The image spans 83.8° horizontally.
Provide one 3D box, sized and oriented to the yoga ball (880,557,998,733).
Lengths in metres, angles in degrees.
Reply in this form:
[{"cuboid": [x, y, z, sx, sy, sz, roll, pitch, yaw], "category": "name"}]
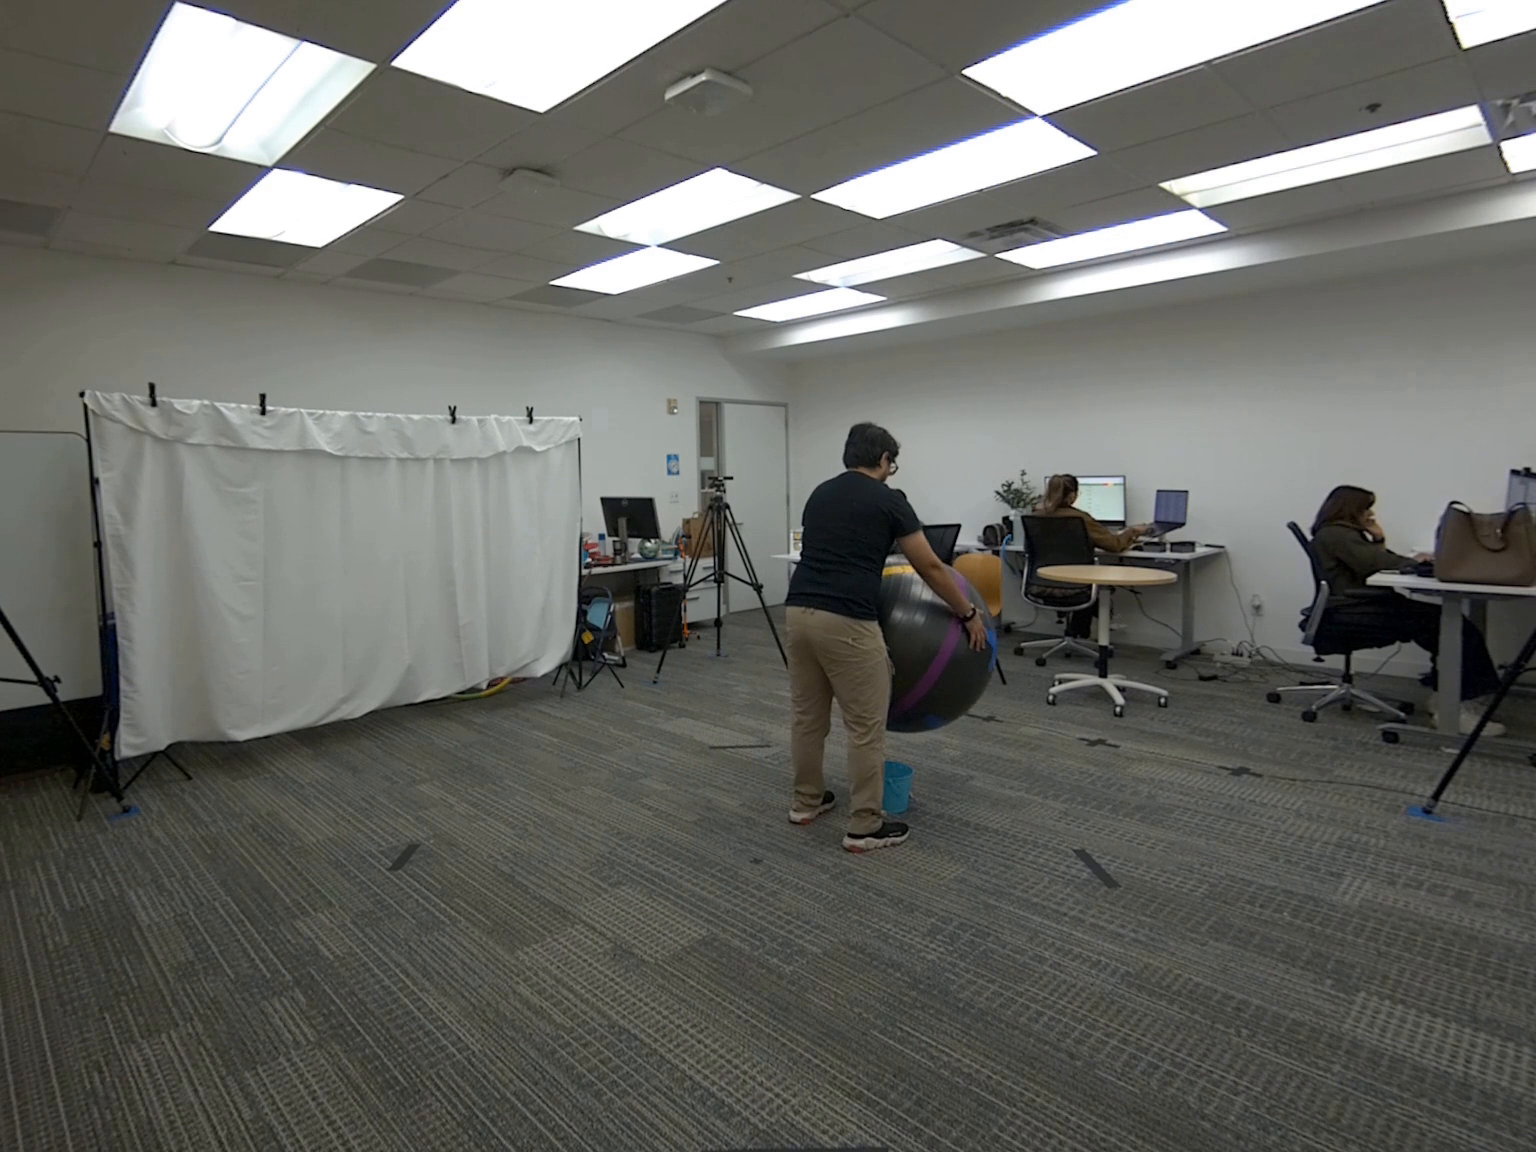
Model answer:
[{"cuboid": [0.590, 0.288, 3.675, 0.757, 0.755, 0.762, -1, 5, -2], "category": "yoga ball"}]
